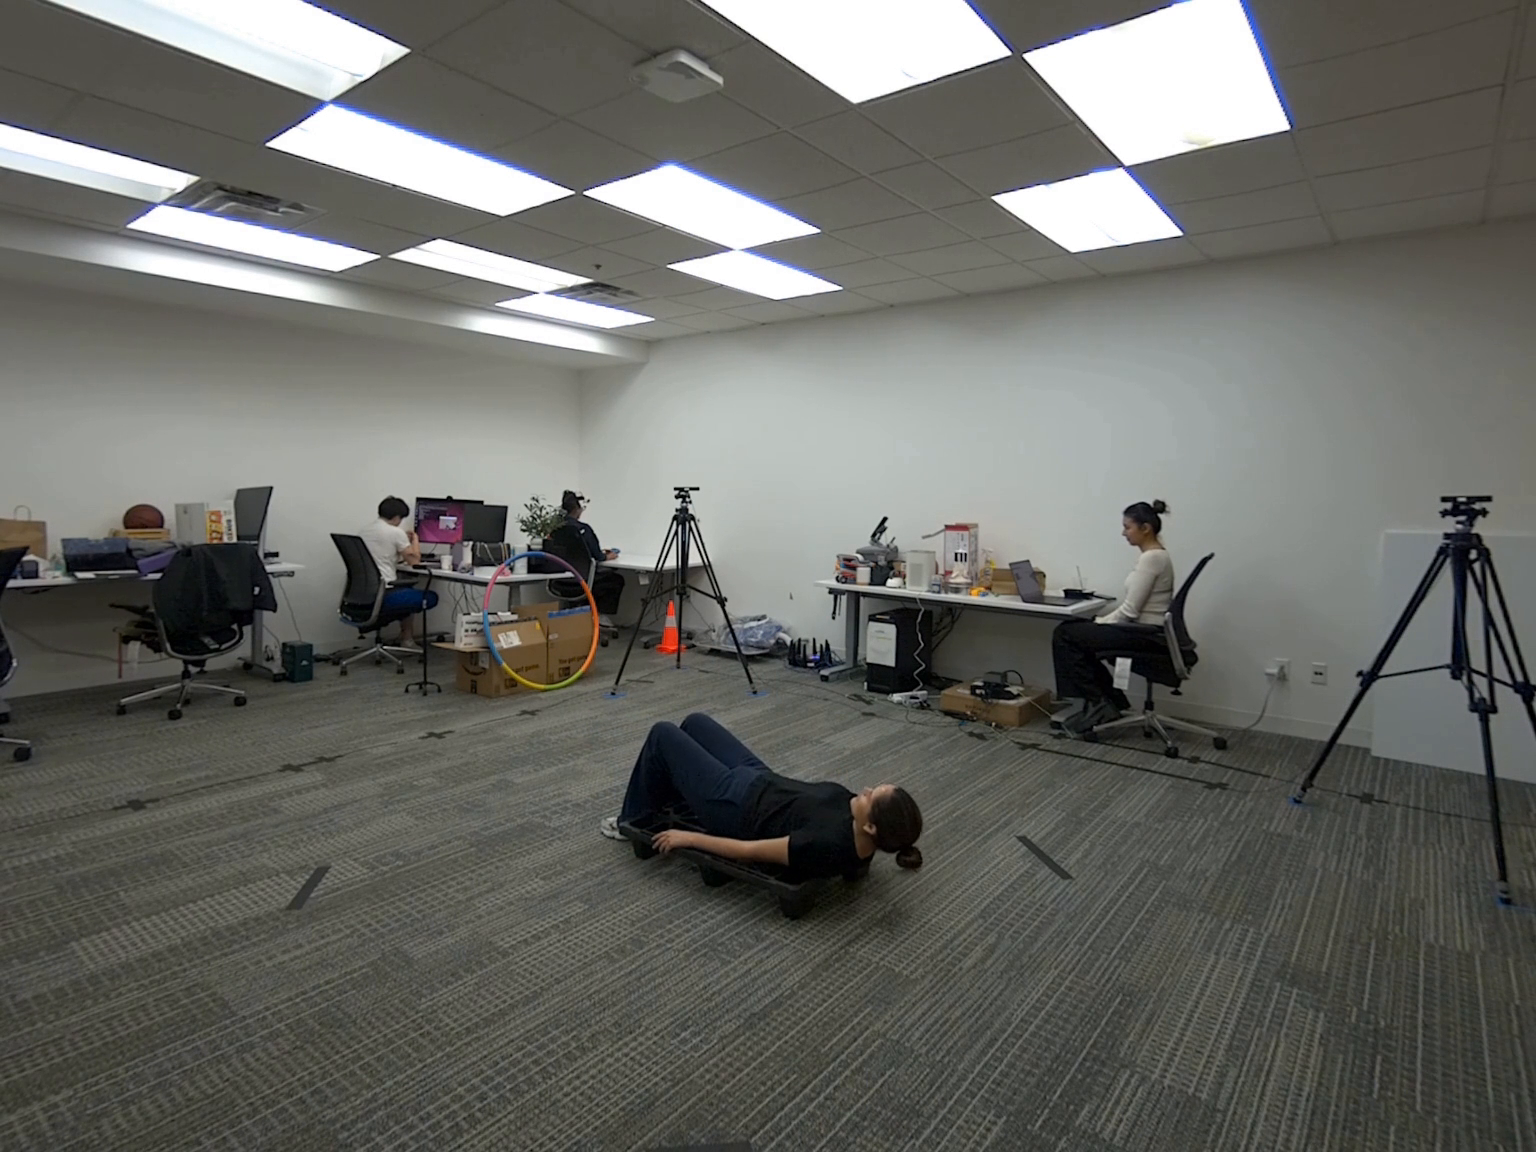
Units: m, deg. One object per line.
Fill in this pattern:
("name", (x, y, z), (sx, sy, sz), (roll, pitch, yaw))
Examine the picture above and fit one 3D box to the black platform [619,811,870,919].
("black platform", (-0.044, 1.005, 3.161), (0.833, 0.143, 0.588), (6, 8, 38))
